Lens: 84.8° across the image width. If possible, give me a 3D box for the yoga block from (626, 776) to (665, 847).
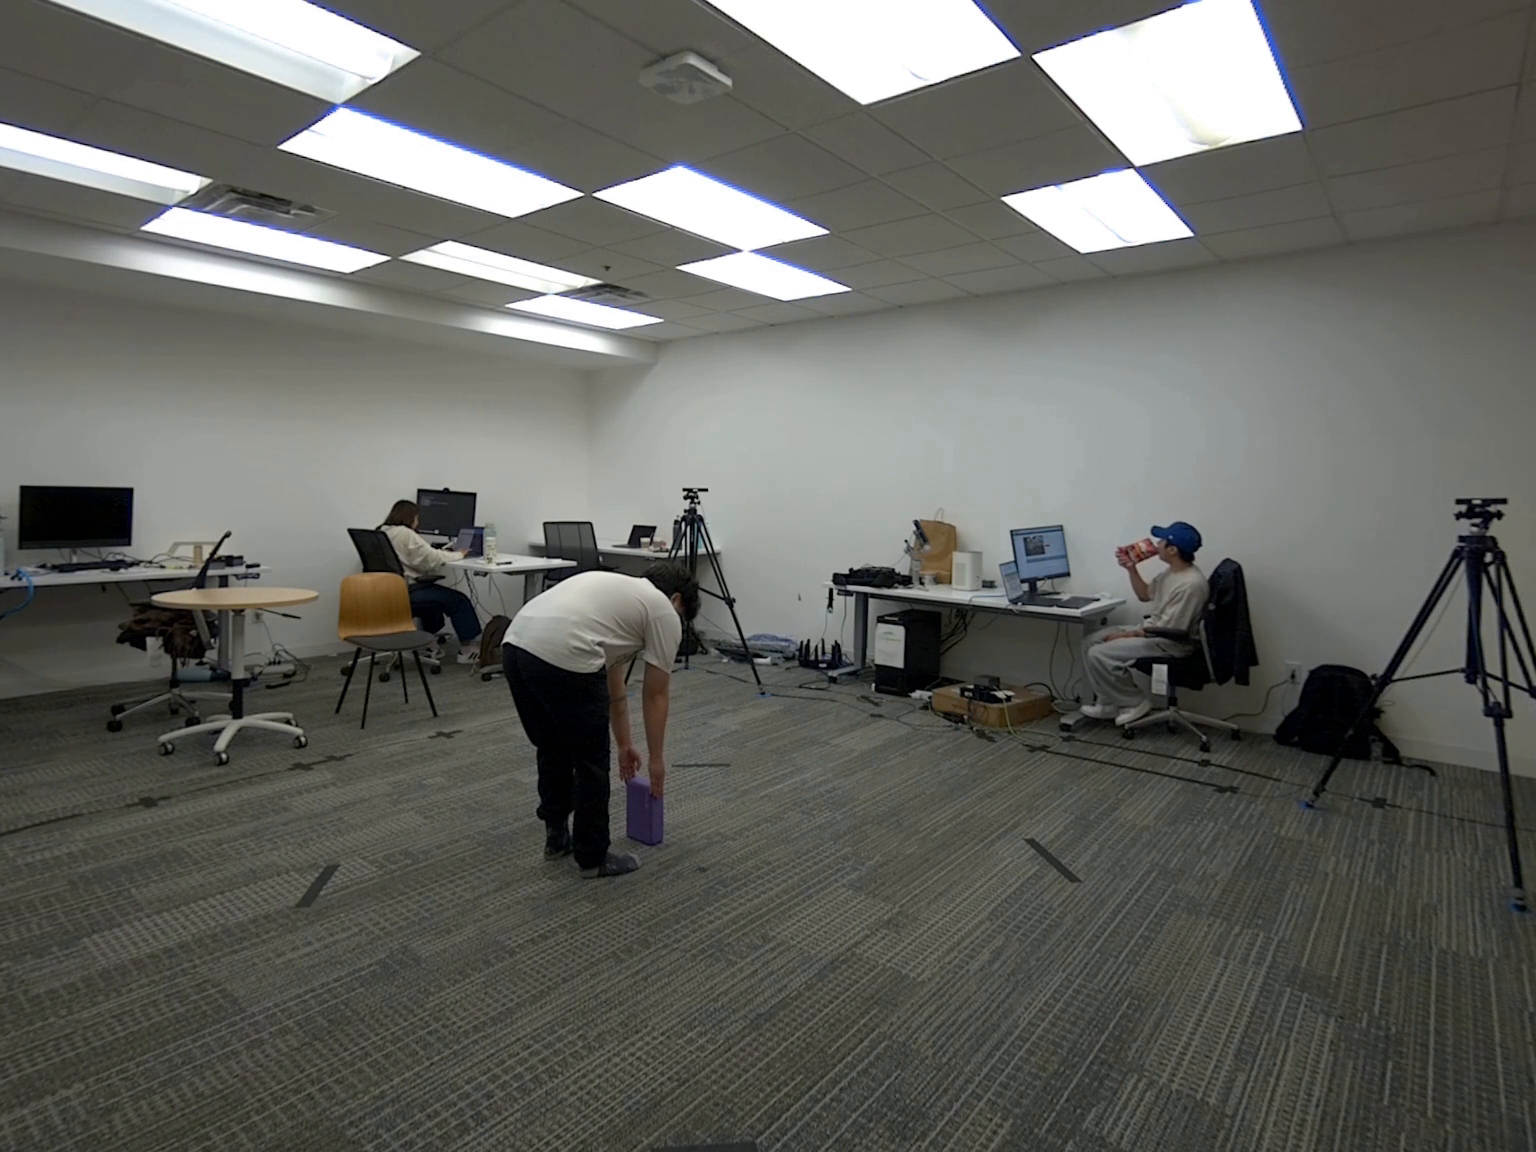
[{"bbox_3d":[-0.504,0.929,3.369,0.154,0.228,0.074,2,5,38],"label":"yoga block"}]
